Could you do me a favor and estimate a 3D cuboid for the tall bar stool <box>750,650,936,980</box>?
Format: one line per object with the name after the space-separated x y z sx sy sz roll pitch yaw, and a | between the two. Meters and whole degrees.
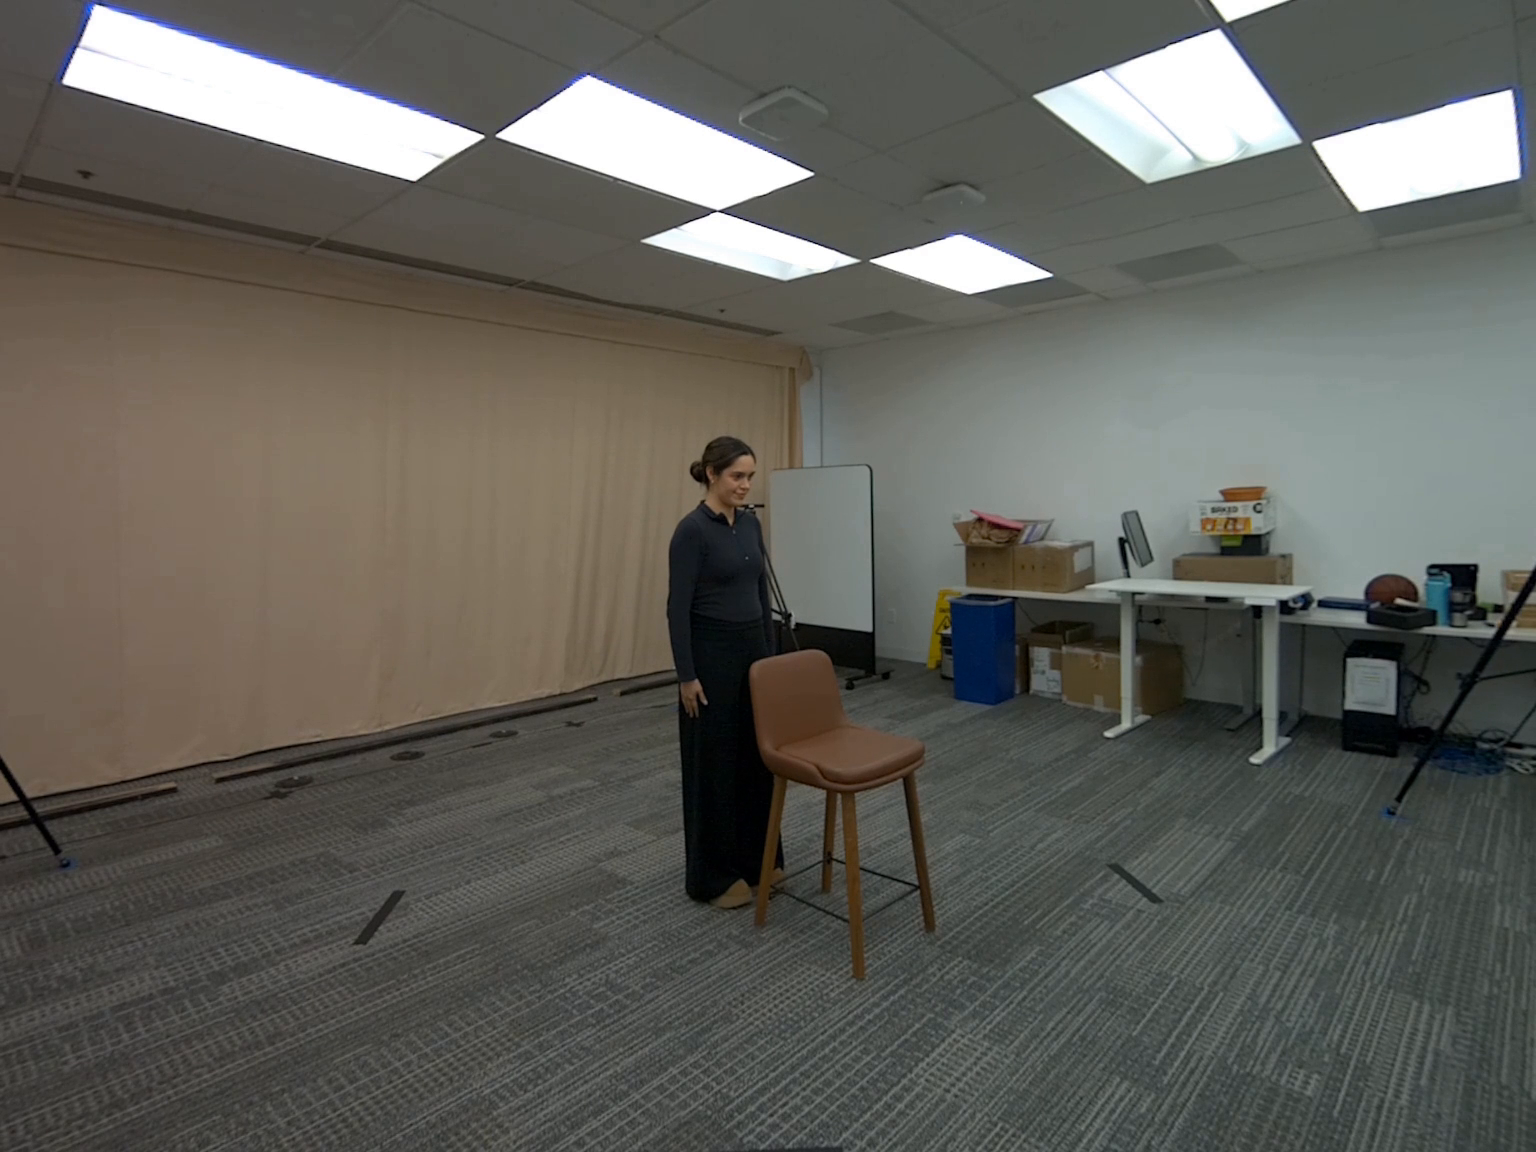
0.236 0.720 2.735 0.442 0.889 0.482 -4 3 -44 | tall bar stool
